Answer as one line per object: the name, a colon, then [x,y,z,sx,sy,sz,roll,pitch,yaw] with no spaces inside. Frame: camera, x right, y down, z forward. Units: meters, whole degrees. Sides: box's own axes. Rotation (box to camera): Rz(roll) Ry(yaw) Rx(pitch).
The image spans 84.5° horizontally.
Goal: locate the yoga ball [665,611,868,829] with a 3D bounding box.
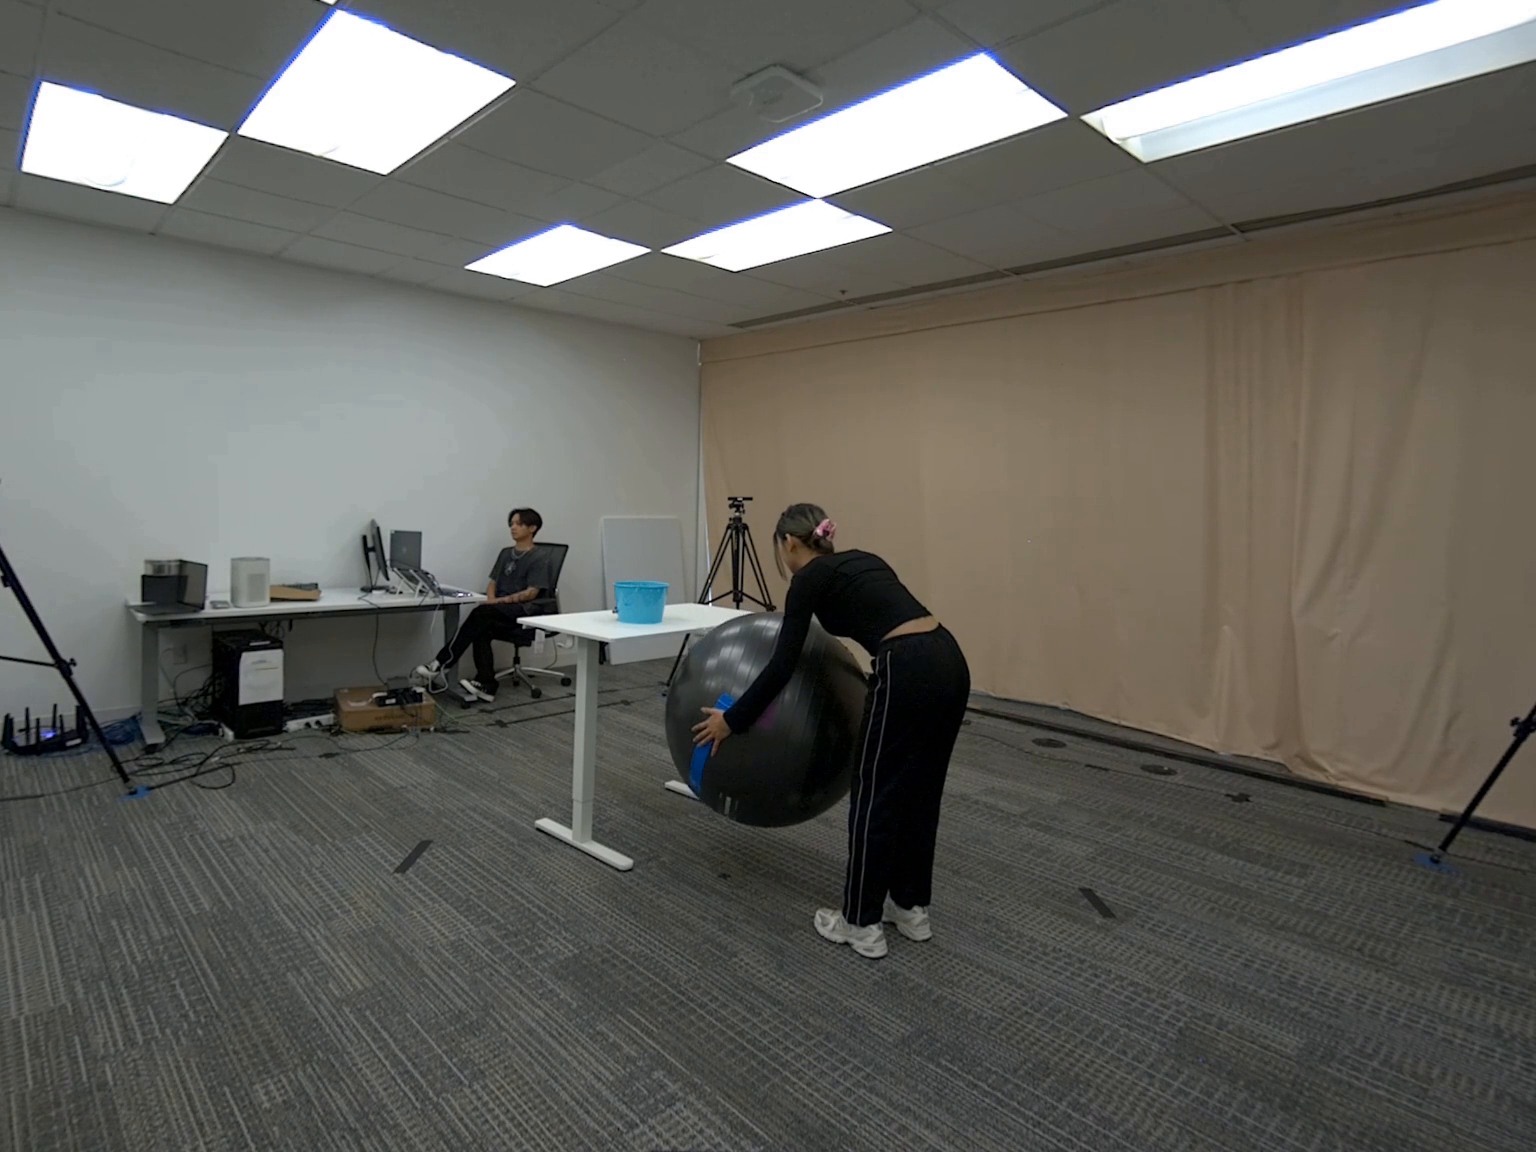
yoga ball: [0.004,0.519,3.050,0.757,0.756,0.760,1,4,-1]
